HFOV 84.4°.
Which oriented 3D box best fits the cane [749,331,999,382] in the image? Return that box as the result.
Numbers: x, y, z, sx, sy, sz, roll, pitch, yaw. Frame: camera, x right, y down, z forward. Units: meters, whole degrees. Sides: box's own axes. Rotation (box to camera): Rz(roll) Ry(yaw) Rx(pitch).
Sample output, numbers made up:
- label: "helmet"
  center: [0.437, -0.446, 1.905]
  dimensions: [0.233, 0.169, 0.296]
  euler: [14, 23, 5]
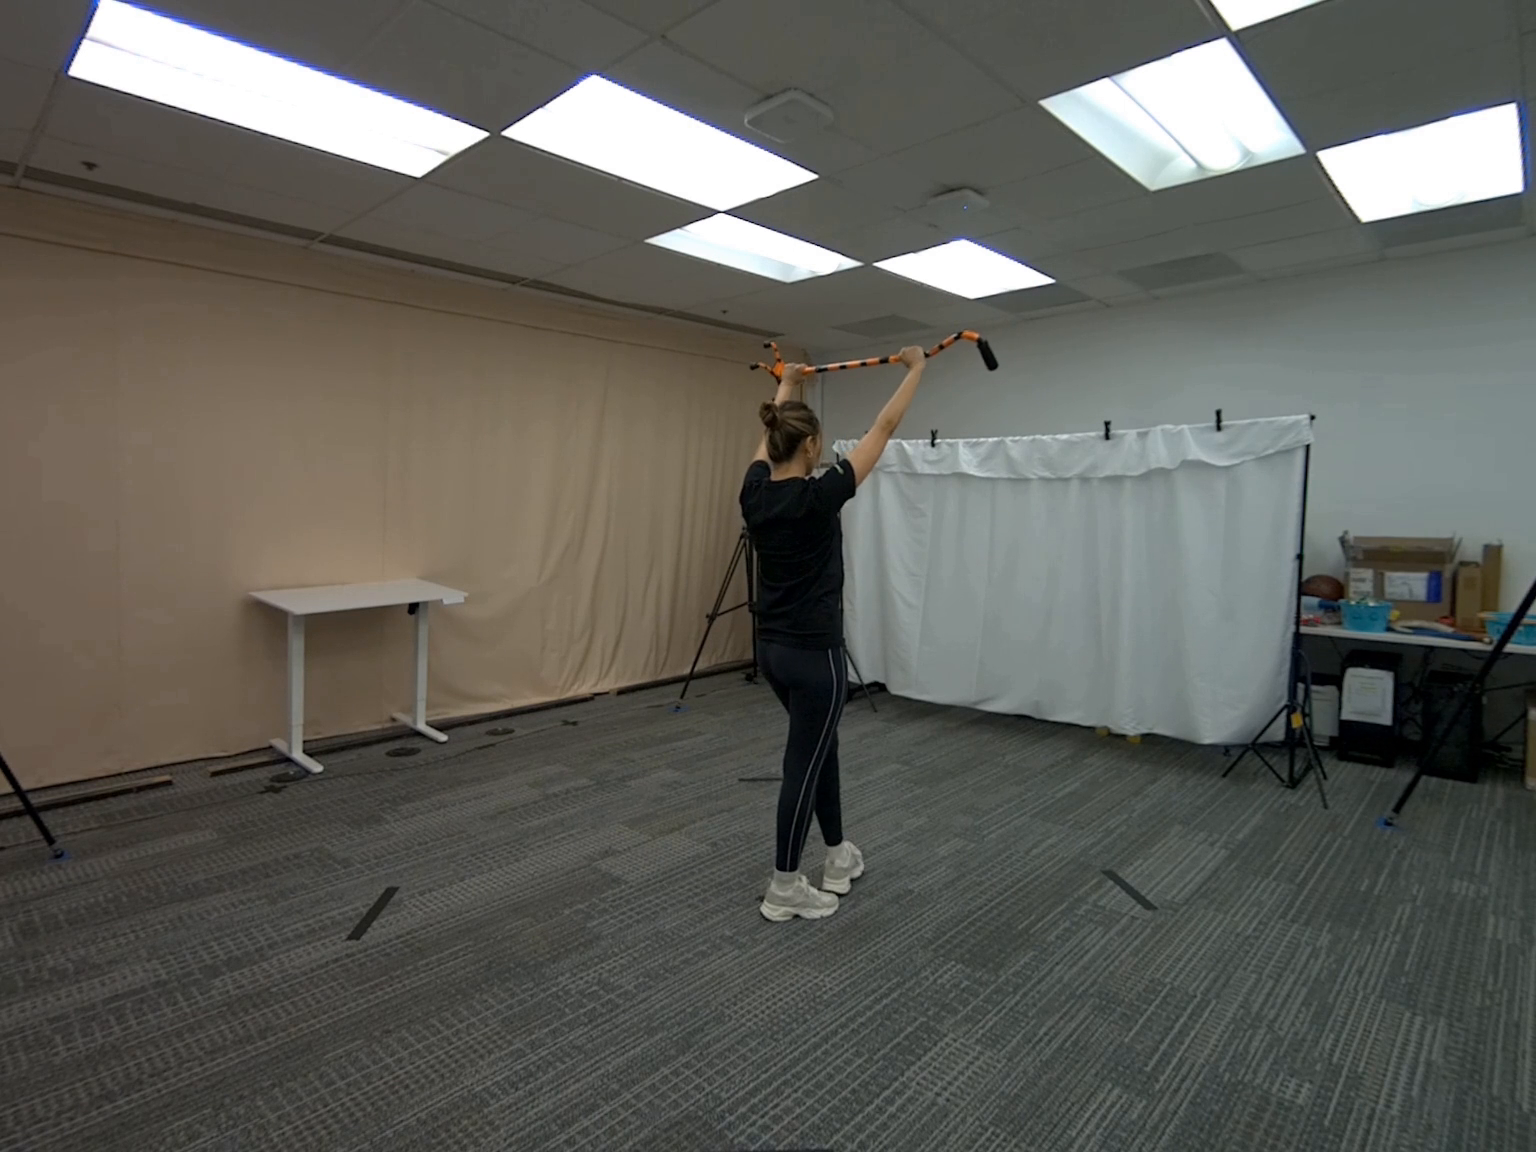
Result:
- label: "cane"
  center: [0.363, -0.766, 2.996]
  dimensions: [0.938, 0.152, 0.199]
  euler: [4, -34, 42]
